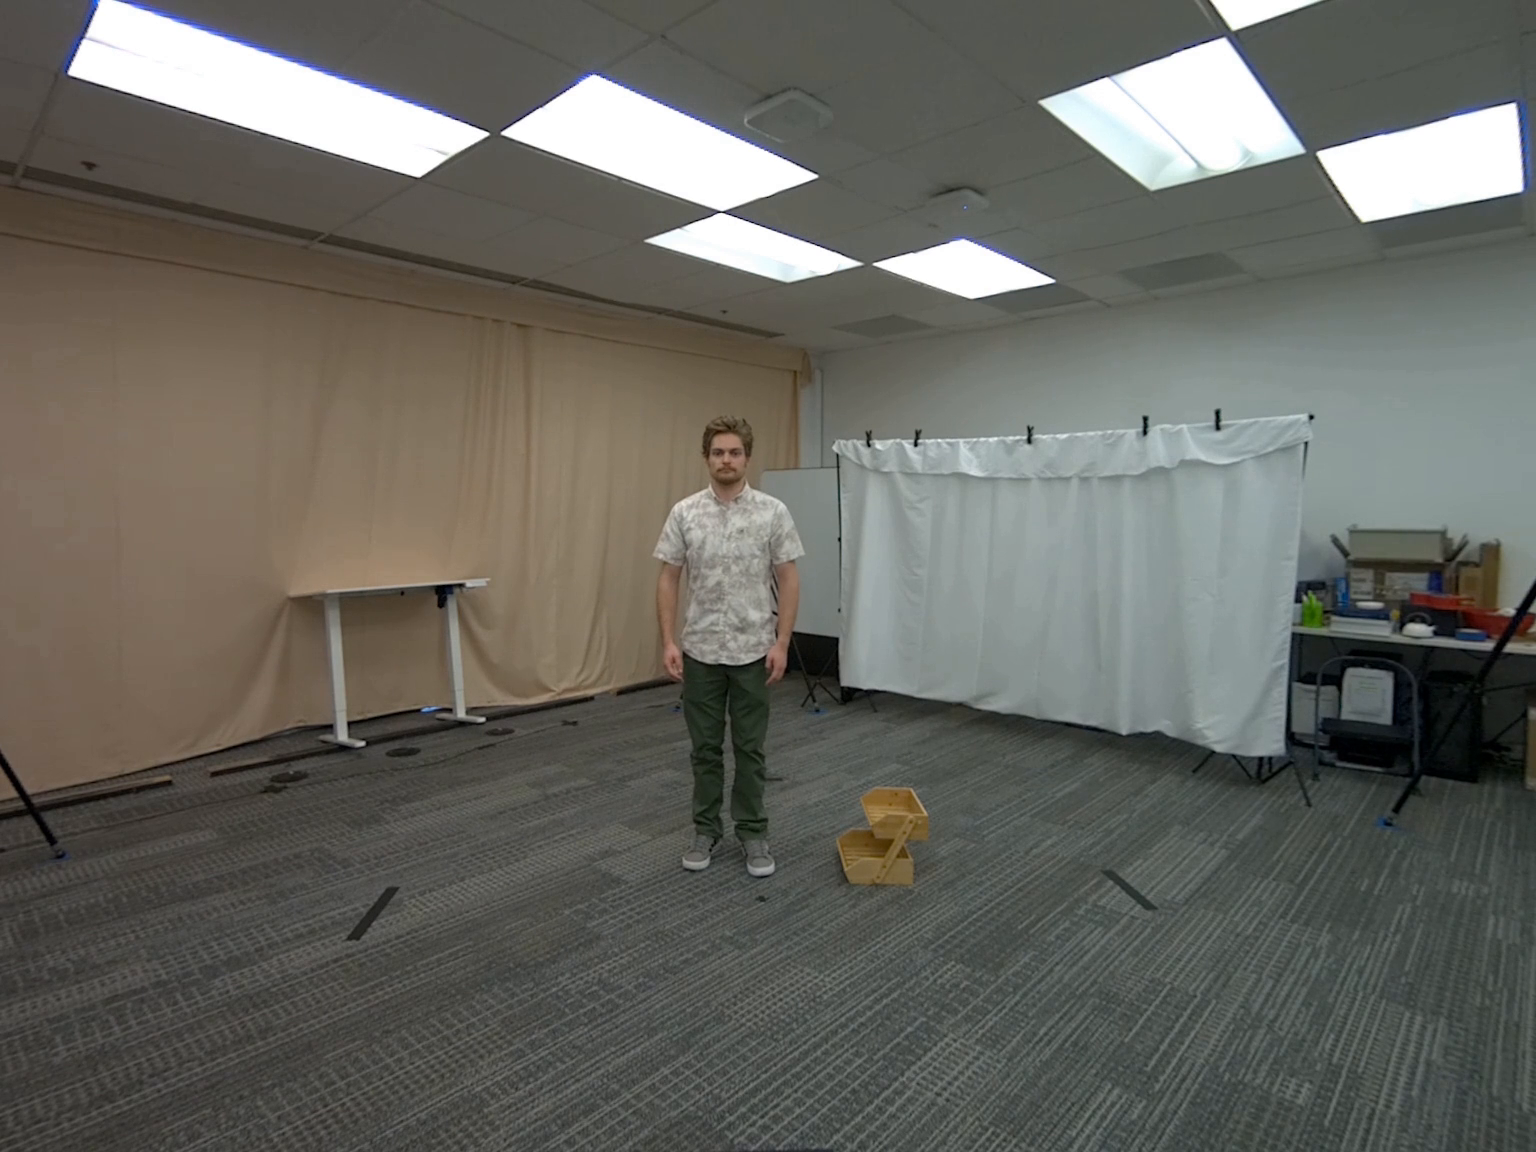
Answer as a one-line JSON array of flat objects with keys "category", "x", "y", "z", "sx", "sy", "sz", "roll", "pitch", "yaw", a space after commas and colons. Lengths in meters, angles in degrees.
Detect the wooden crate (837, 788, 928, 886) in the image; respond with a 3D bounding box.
[{"category": "wooden crate", "x": 0.429, "y": 0.986, "z": 3.235, "sx": 0.302, "sy": 0.273, "sz": 0.325, "roll": 0, "pitch": 4, "yaw": -1}]
